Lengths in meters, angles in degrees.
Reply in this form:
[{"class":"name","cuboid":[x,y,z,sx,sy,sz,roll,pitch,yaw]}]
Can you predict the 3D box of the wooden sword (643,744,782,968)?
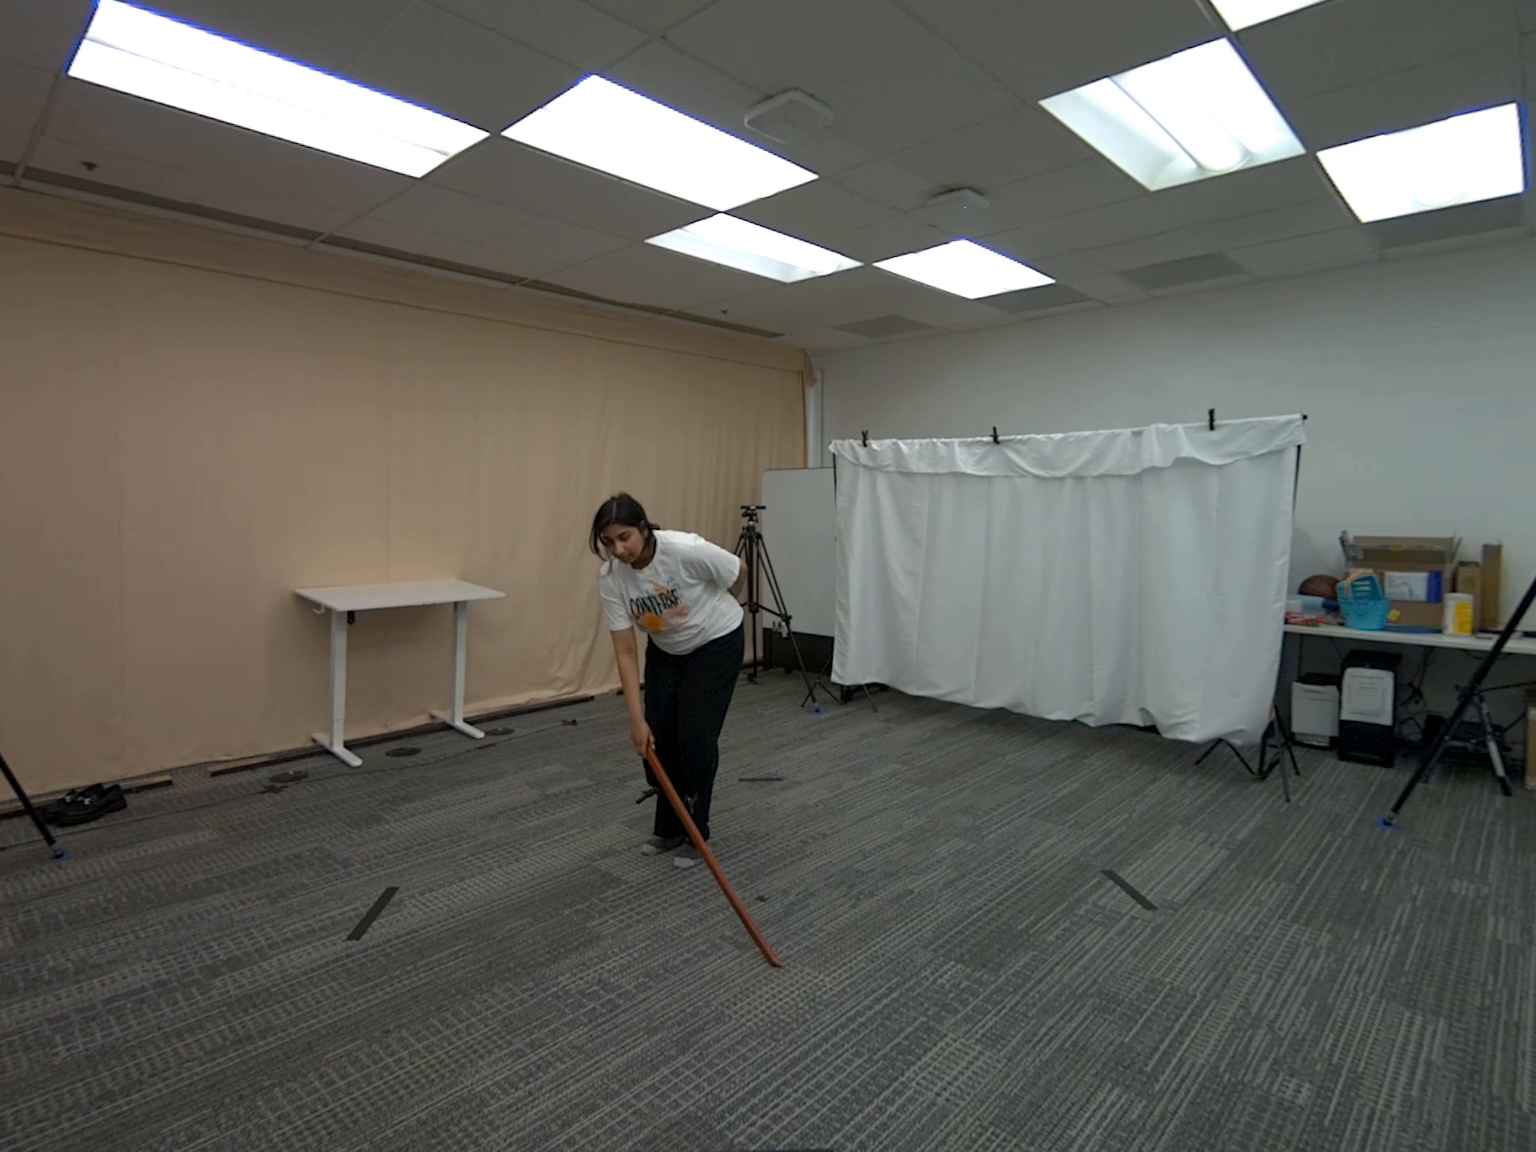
[{"class":"wooden sword","cuboid":[-0.228,0.893,2.890,0.023,0.051,1.062,2,31,-37]}]
